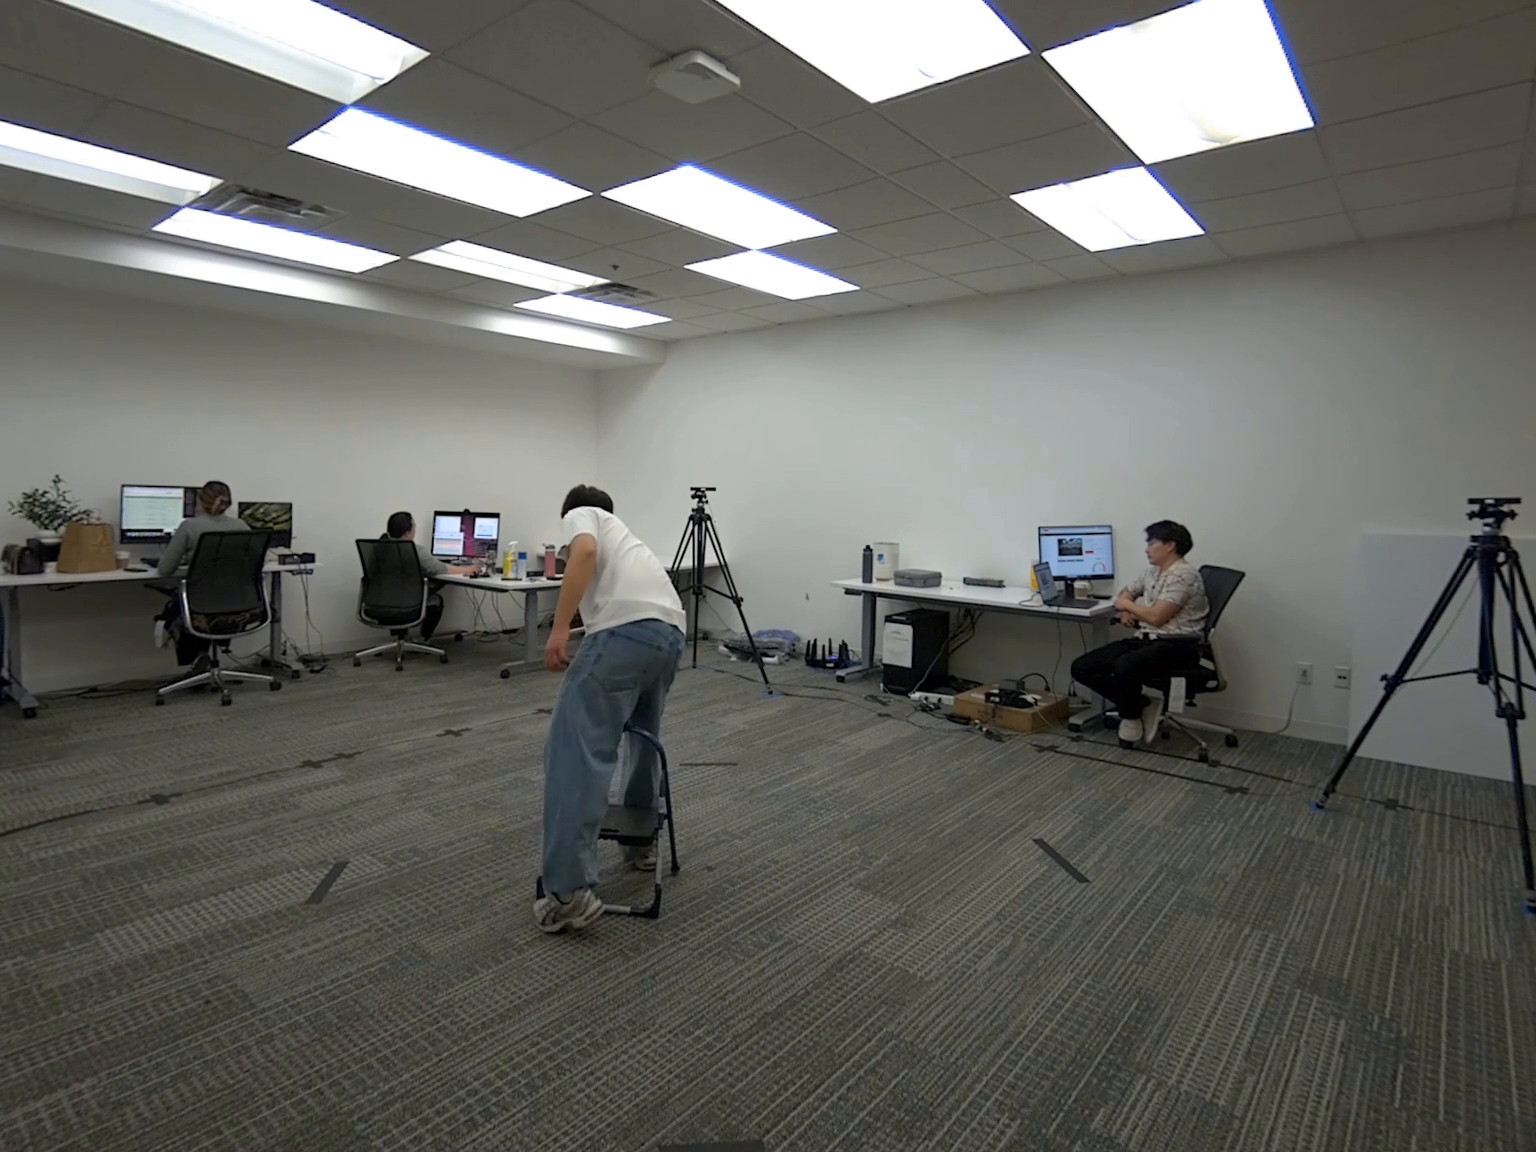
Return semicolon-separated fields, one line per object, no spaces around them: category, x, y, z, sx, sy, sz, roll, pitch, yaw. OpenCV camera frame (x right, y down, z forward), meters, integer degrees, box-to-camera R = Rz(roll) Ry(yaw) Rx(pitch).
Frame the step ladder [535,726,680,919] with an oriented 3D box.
step ladder;-0.551;0.775;2.896;0.433;0.603;0.349;1;6;5
